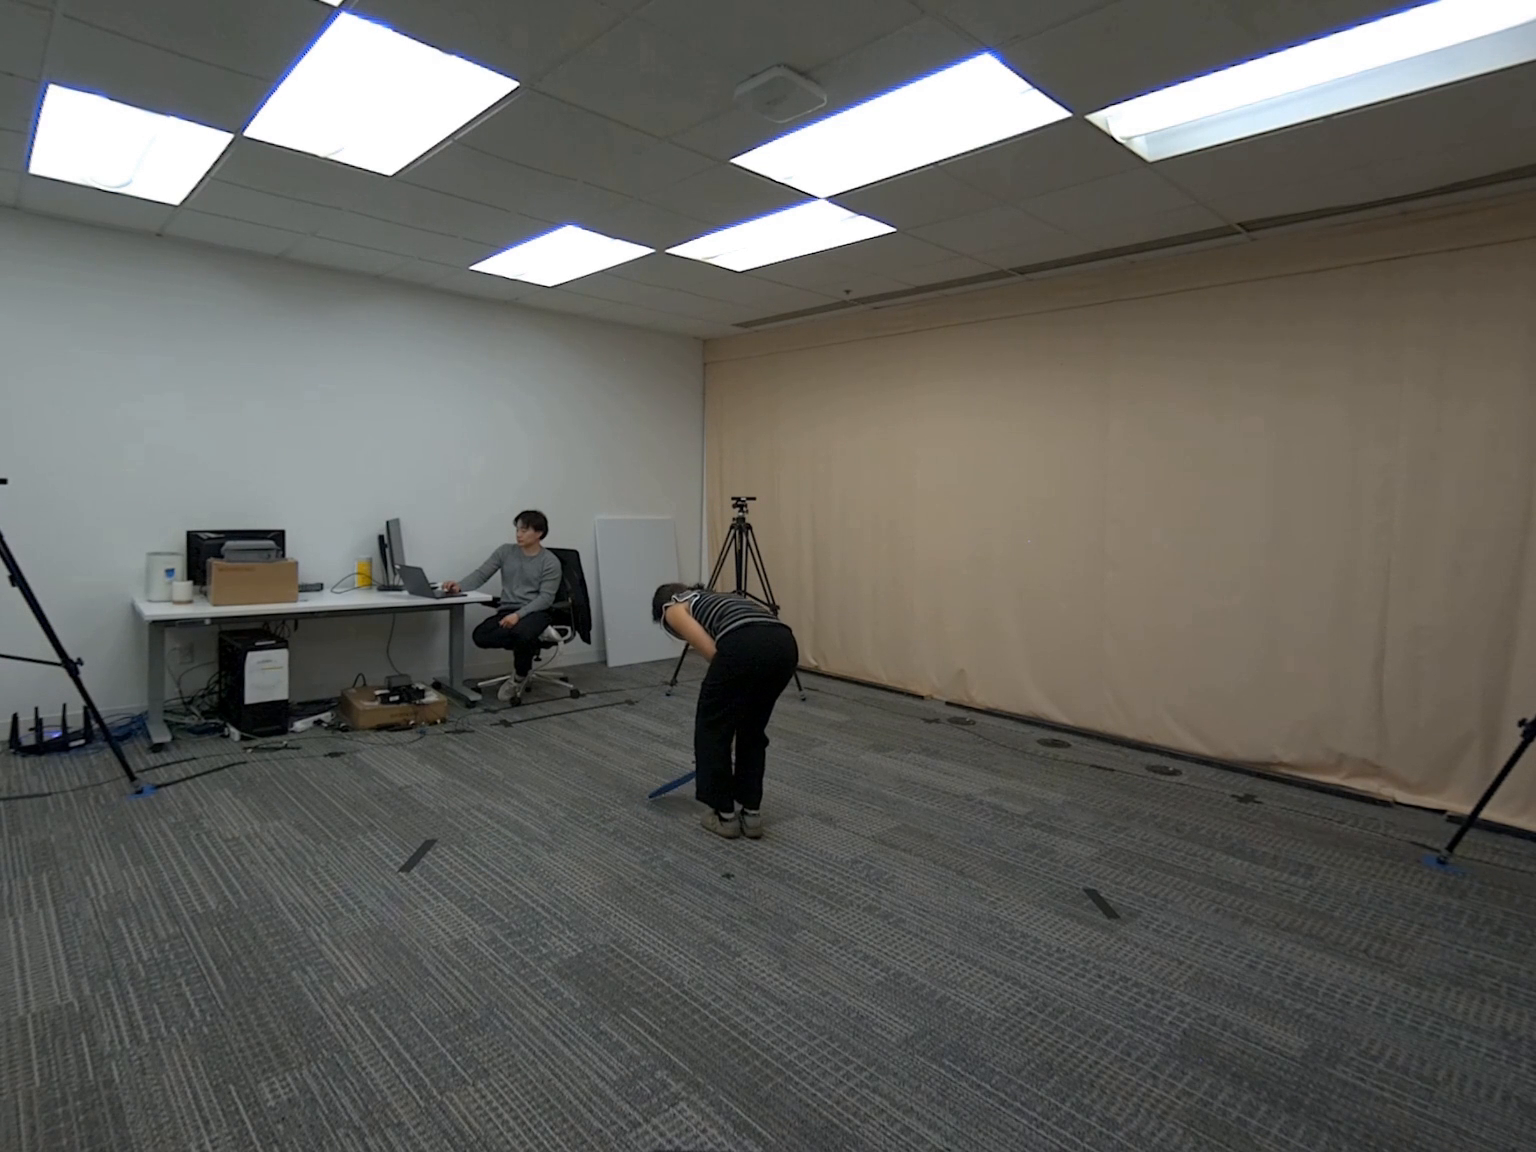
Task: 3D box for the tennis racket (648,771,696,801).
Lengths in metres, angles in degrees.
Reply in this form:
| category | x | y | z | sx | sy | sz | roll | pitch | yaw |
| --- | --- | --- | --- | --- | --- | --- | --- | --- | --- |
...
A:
| category | x | y | z | sx | sy | sz | roll | pitch | yaw |
| --- | --- | --- | --- | --- | --- | --- | --- | --- | --- |
| tennis racket | -0.359 | 0.907 | 3.798 | 0.434 | 0.032 | 0.210 | -29 | -12 | 12 |
